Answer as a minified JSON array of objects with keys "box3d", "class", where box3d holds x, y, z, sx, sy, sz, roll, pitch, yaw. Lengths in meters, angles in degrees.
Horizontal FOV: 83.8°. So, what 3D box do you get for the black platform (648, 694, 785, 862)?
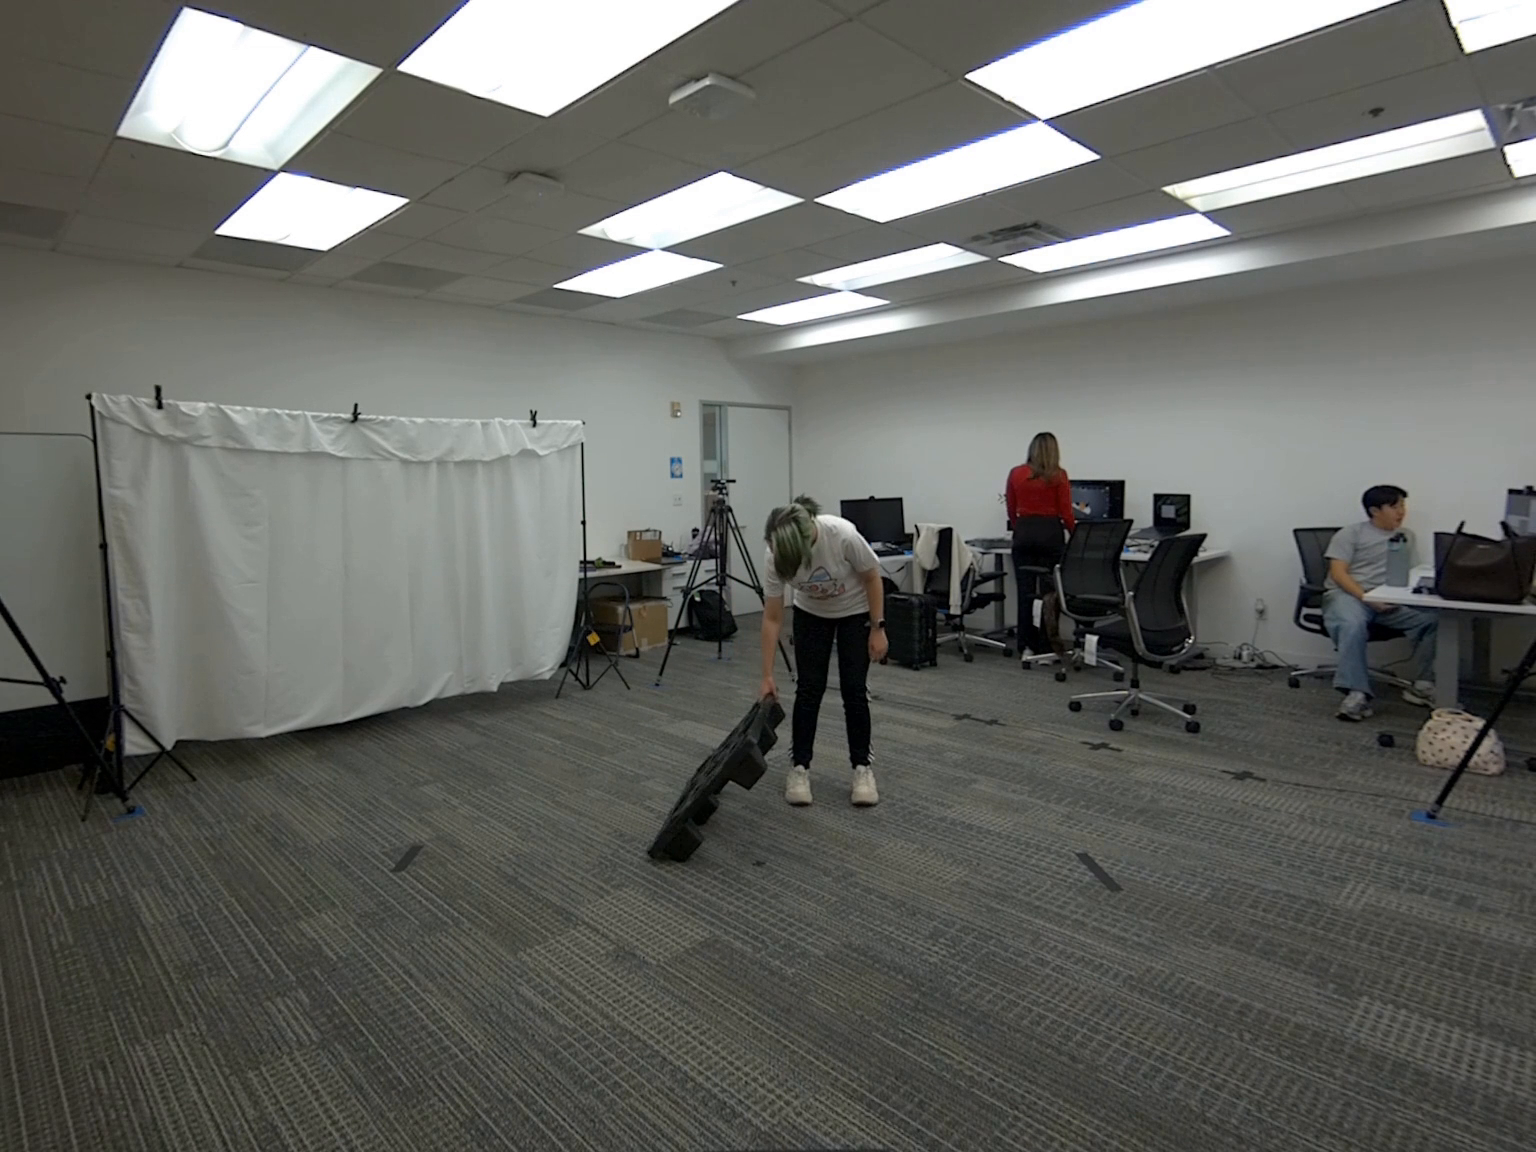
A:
[{"box3d":[-0.166,0.787,3.453,0.144,0.604,0.802,39,9,1],"class":"black platform"}]
